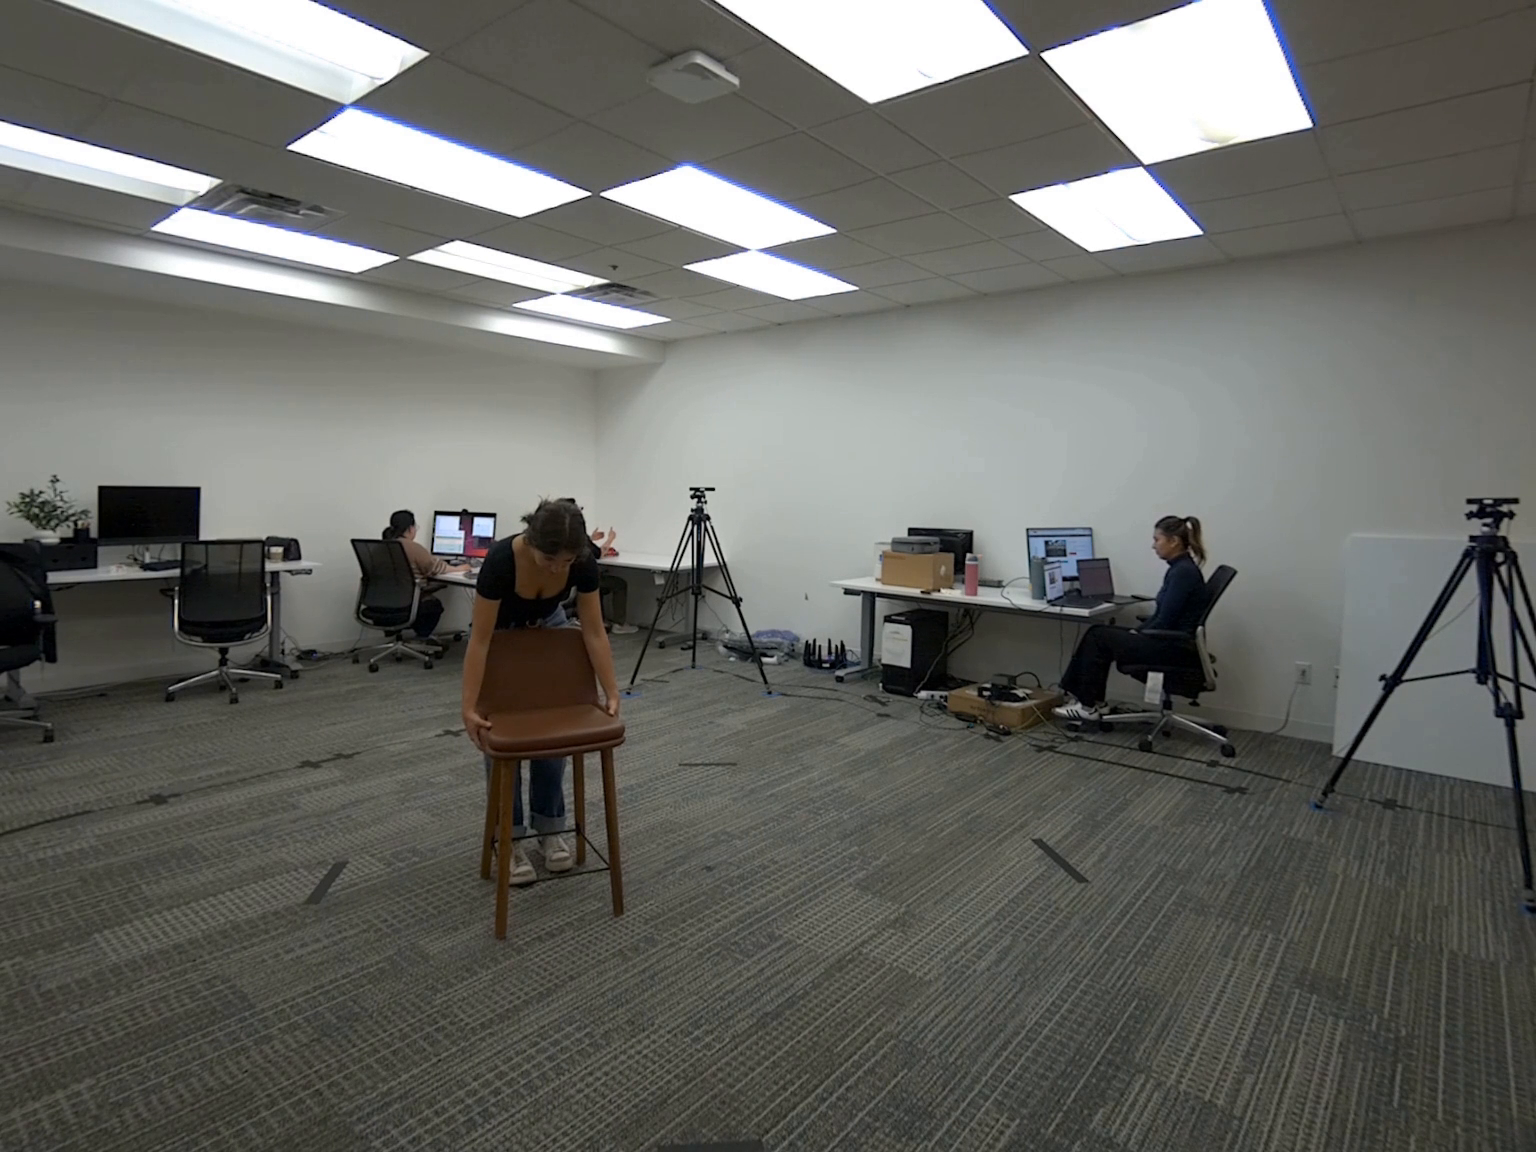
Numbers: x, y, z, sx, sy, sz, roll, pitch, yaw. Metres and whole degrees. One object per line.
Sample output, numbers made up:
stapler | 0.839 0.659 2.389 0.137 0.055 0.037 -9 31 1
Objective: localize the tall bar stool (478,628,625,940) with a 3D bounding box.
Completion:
tall bar stool | -0.753 0.642 2.856 0.445 0.888 0.480 -1 2 -26
